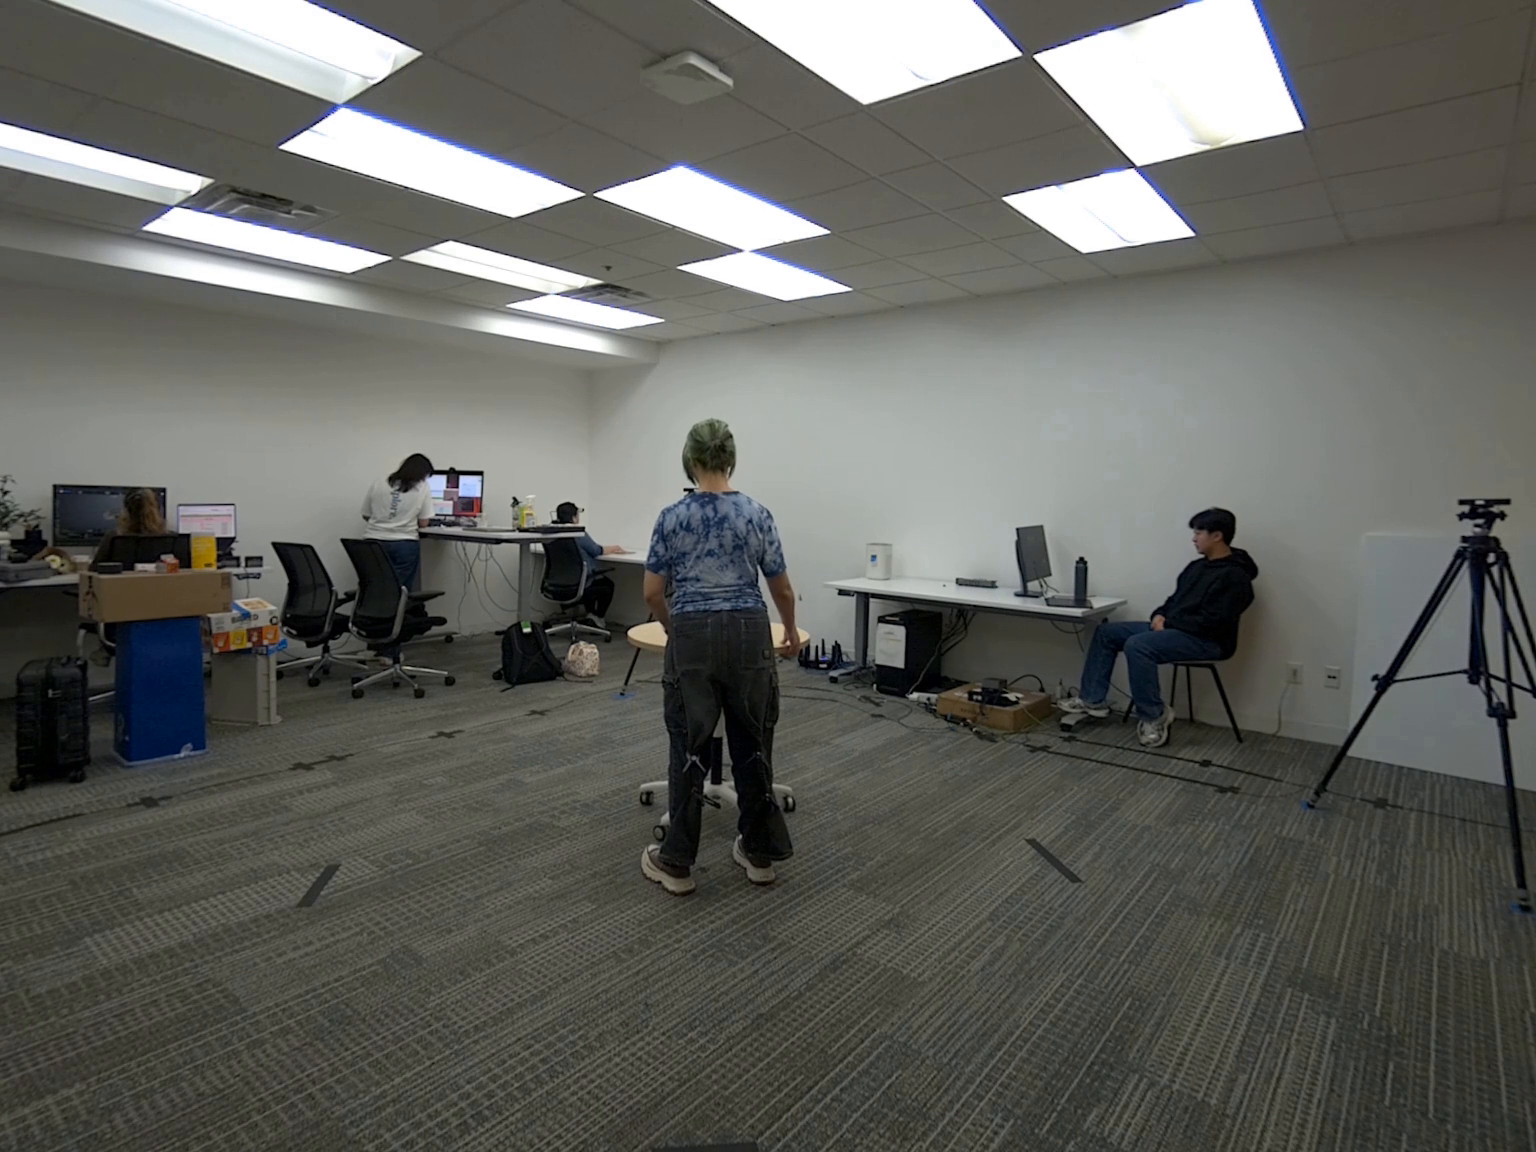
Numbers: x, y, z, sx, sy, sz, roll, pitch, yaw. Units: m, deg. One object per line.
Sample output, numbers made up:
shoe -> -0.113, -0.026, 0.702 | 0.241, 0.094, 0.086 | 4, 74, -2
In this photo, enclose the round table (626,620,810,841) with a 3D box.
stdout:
round table -> -0.227, 0.630, 3.606 | 0.763, 0.791, 0.768 | 1, 4, -2
